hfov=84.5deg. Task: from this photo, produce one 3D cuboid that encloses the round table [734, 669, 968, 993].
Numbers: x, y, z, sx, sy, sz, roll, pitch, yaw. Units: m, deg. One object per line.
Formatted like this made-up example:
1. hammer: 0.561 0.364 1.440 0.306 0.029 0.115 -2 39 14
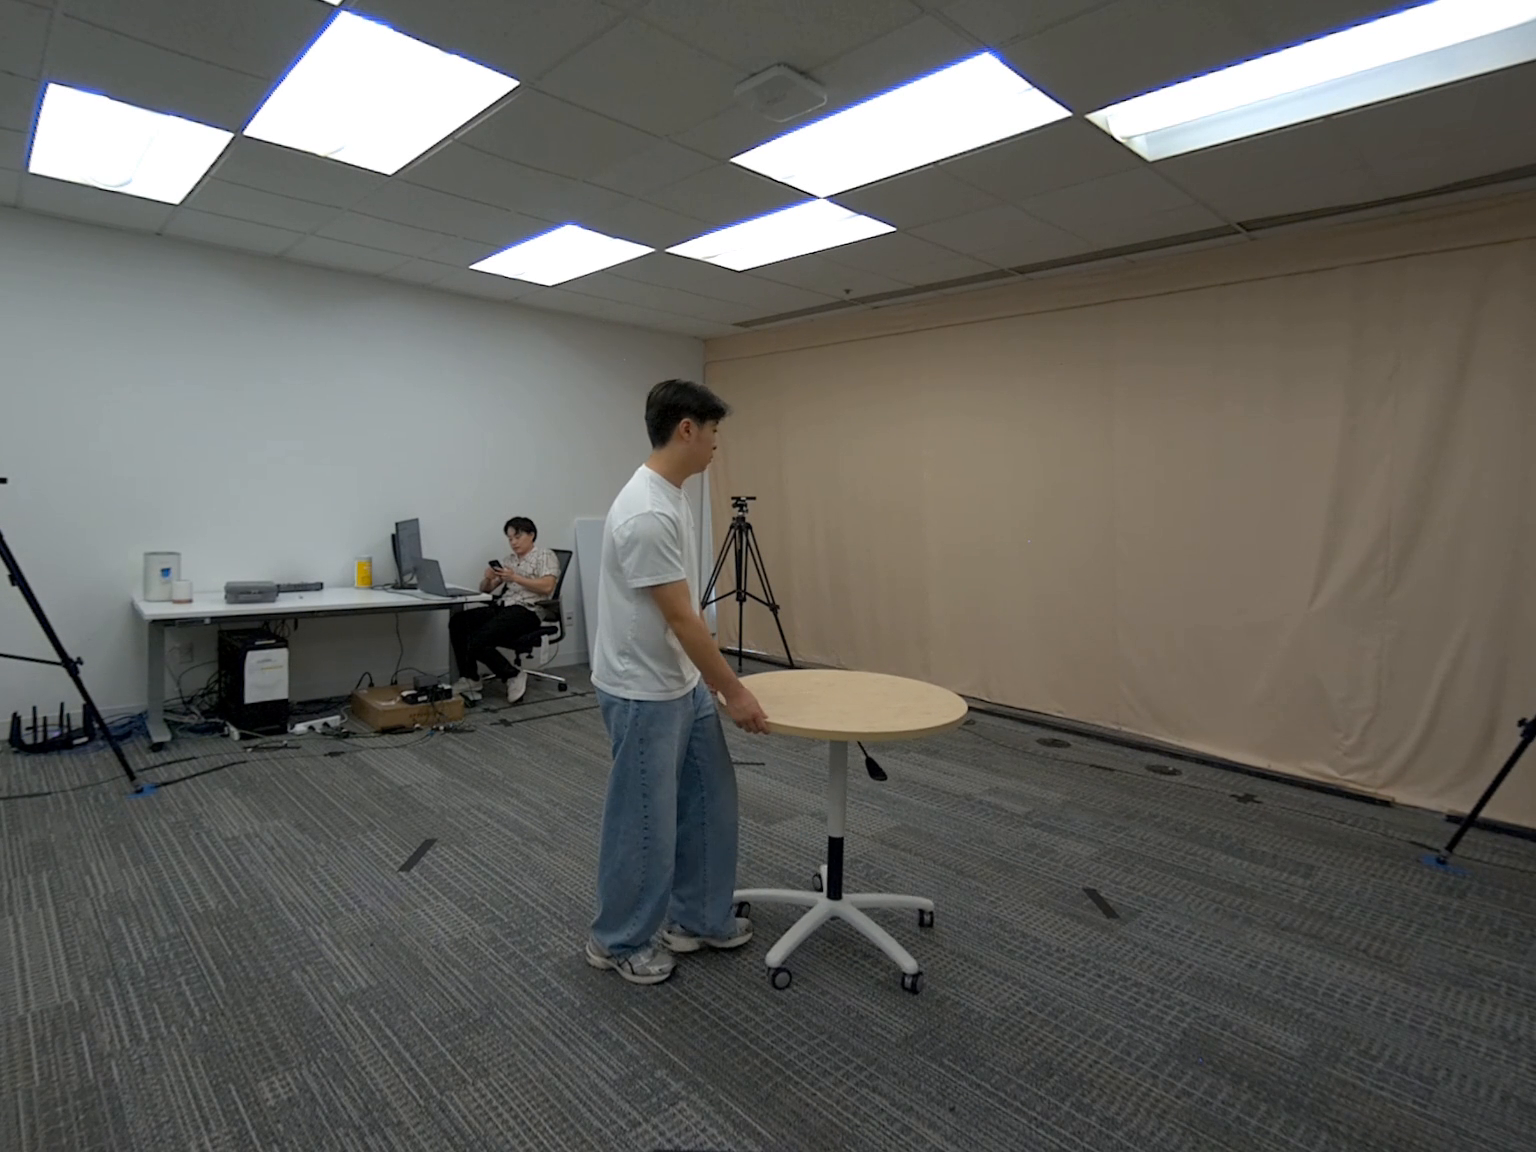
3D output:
1. round table: 0.207 0.768 2.645 0.763 0.791 0.767 2 5 -1
